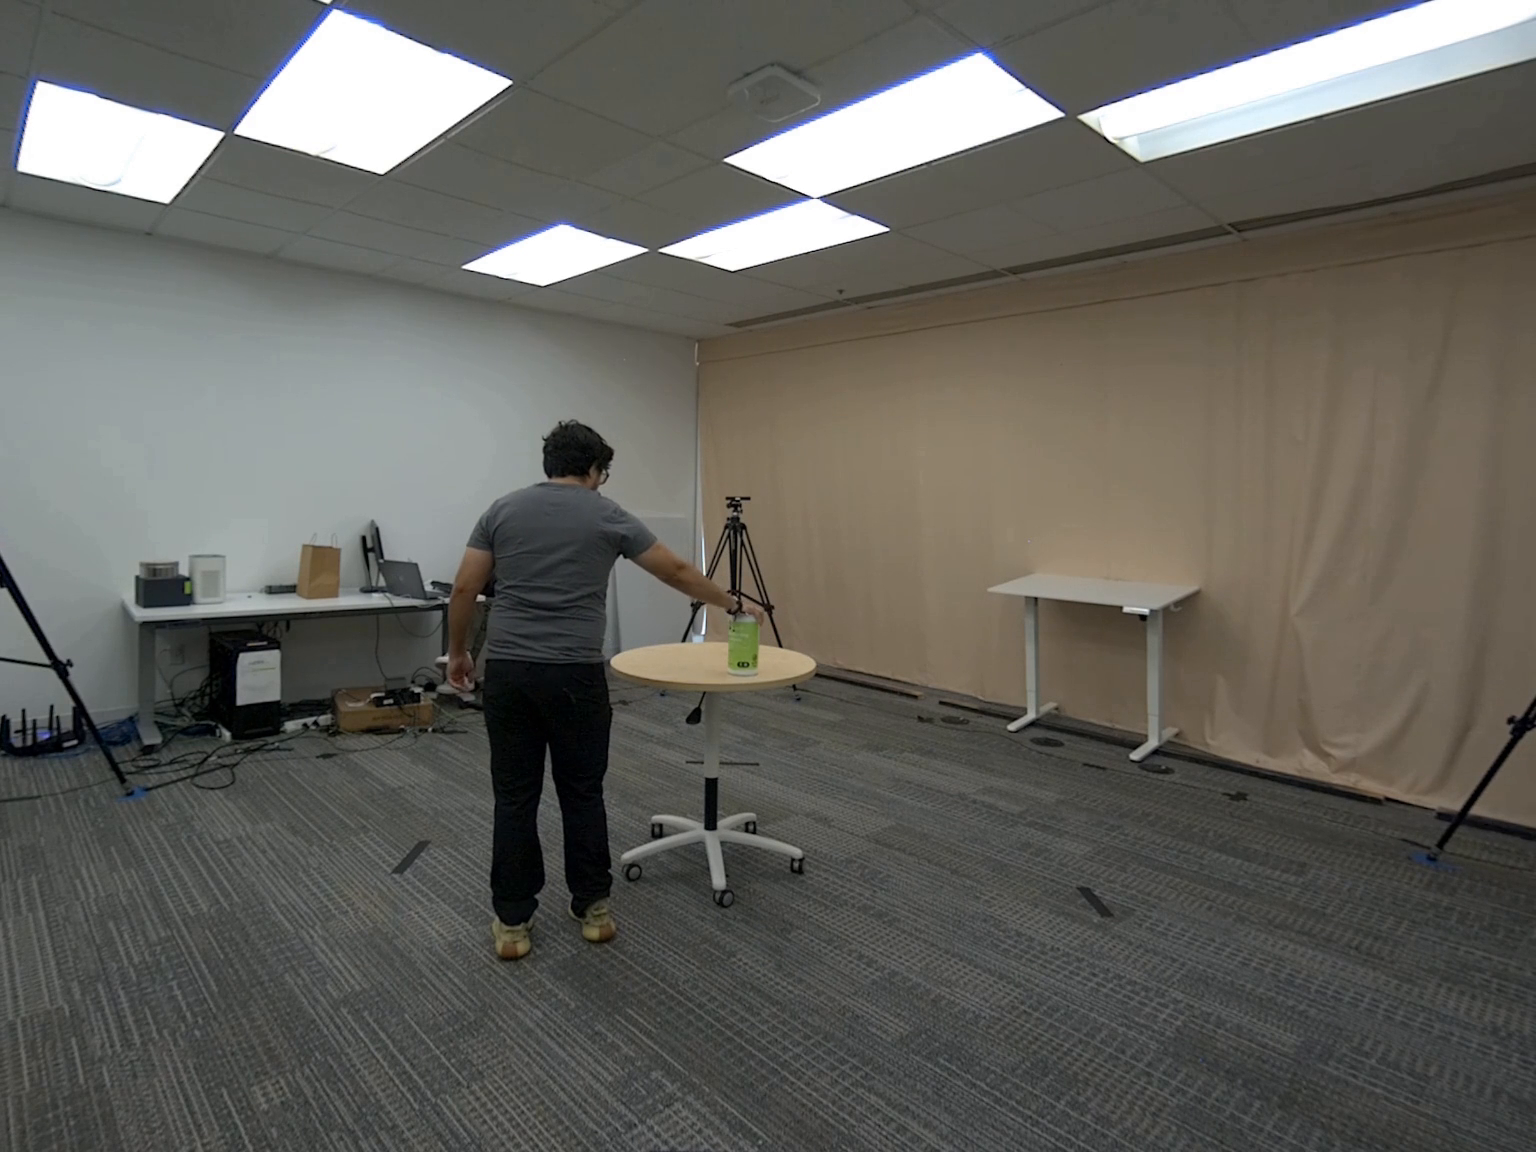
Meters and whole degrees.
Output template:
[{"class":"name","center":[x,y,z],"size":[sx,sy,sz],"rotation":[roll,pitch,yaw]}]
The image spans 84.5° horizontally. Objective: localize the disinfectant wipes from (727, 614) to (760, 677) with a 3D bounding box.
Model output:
[{"class":"disinfectant wipes","center":[-0.097,0.236,2.938],"size":[0.118,0.216,0.118],"rotation":[0,5,-1]}]
